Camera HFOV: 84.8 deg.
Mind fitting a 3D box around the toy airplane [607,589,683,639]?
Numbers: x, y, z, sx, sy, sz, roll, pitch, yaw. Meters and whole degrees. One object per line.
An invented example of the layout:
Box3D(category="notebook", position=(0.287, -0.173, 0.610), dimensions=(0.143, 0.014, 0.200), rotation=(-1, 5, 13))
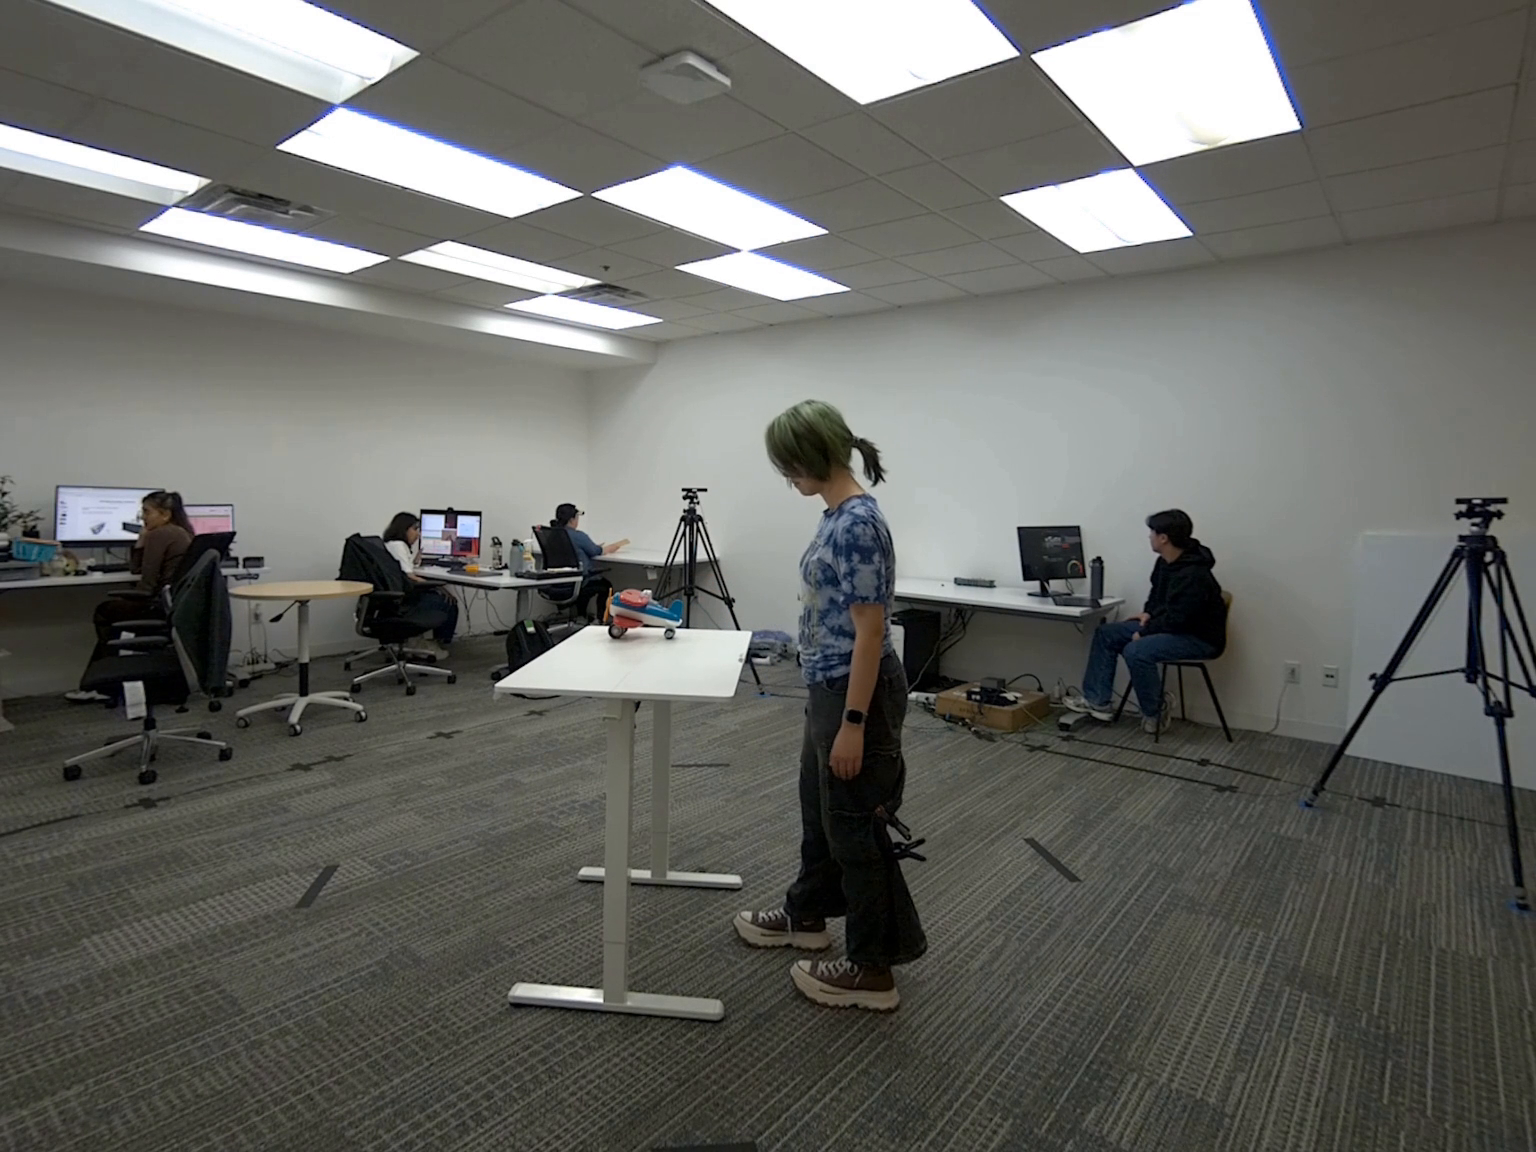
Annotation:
Box3D(category="toy airplane", position=(-0.436, 0.129, 2.906), dimensions=(0.253, 0.156, 0.258), rotation=(-2, 5, -28))
